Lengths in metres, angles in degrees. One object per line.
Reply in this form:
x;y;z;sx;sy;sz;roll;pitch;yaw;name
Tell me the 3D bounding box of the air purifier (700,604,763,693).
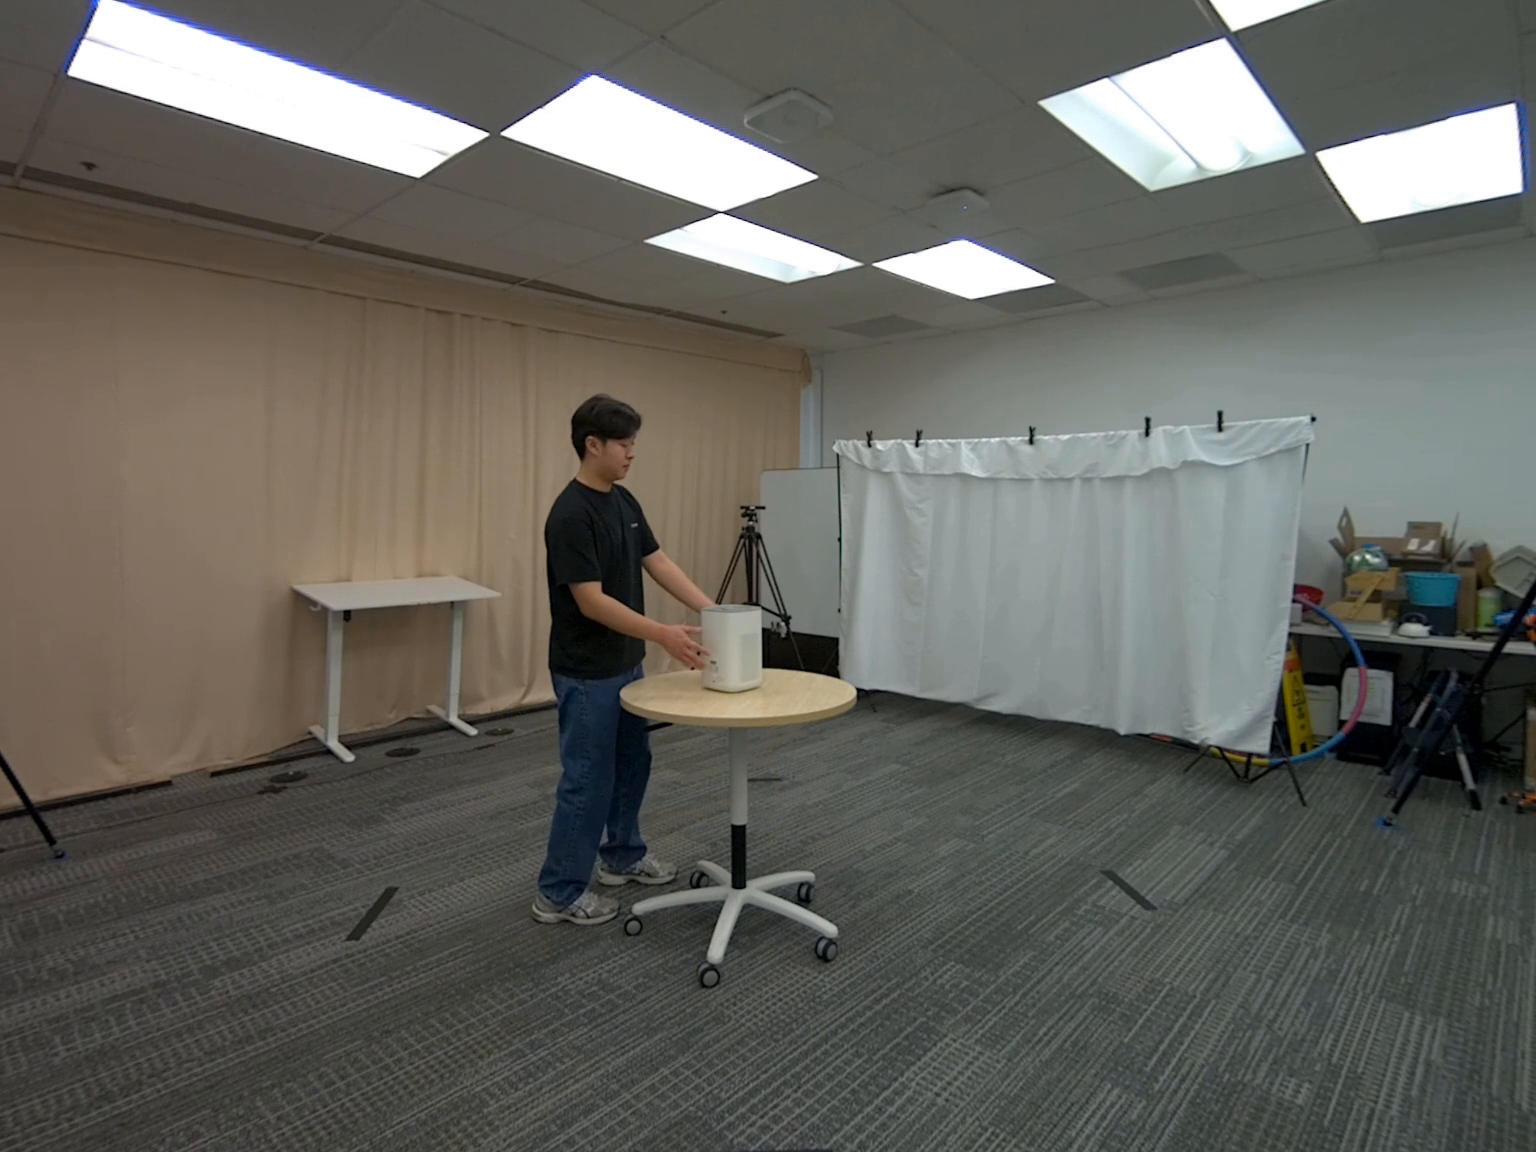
-0.116;0.236;2.762;0.177;0.265;0.166;2;4;44;air purifier
